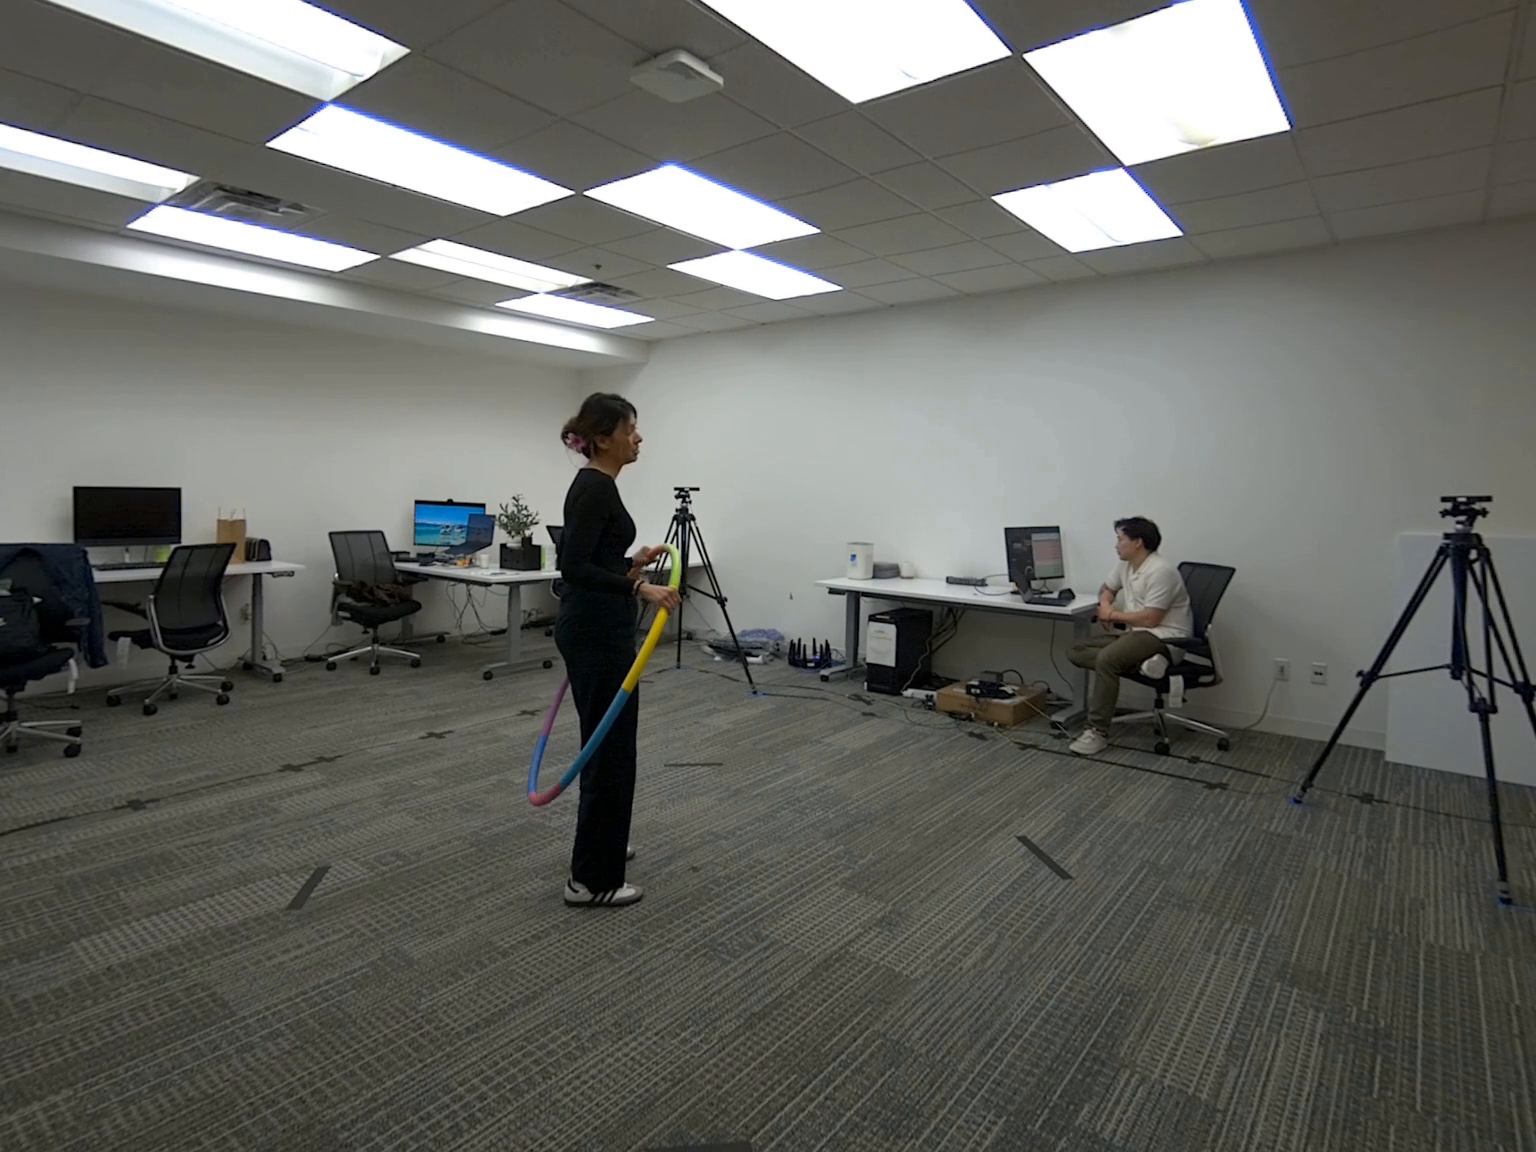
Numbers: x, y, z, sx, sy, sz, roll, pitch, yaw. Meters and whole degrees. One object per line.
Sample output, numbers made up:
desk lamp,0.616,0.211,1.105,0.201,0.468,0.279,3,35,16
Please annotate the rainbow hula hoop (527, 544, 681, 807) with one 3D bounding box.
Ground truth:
rainbow hula hoop,-0.591,0.323,2.956,0.035,0.980,1.000,31,-5,-19
